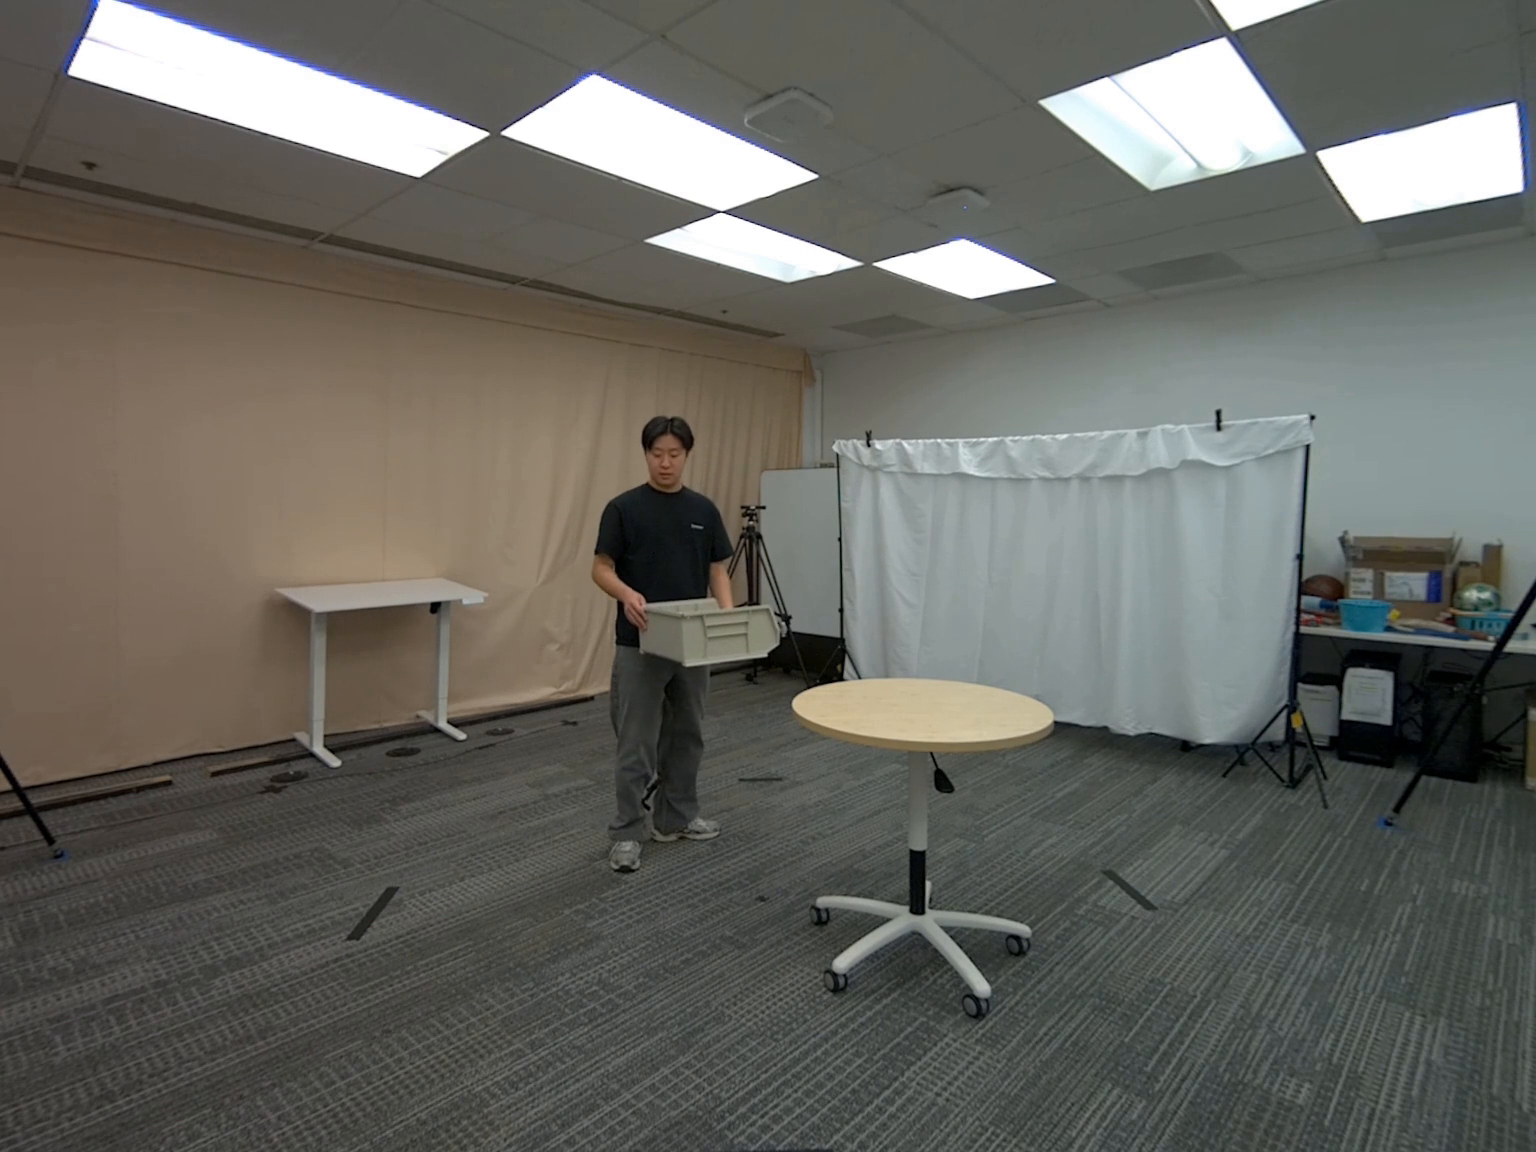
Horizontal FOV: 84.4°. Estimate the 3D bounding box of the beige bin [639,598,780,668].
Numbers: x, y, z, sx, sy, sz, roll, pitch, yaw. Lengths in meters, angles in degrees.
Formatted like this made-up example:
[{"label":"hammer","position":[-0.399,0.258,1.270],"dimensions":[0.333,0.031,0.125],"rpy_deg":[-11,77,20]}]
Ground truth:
[{"label":"beige bin","position":[-0.211,0.193,3.024],"dimensions":[0.368,0.188,0.434],"rpy_deg":[-5,6,-29]}]
